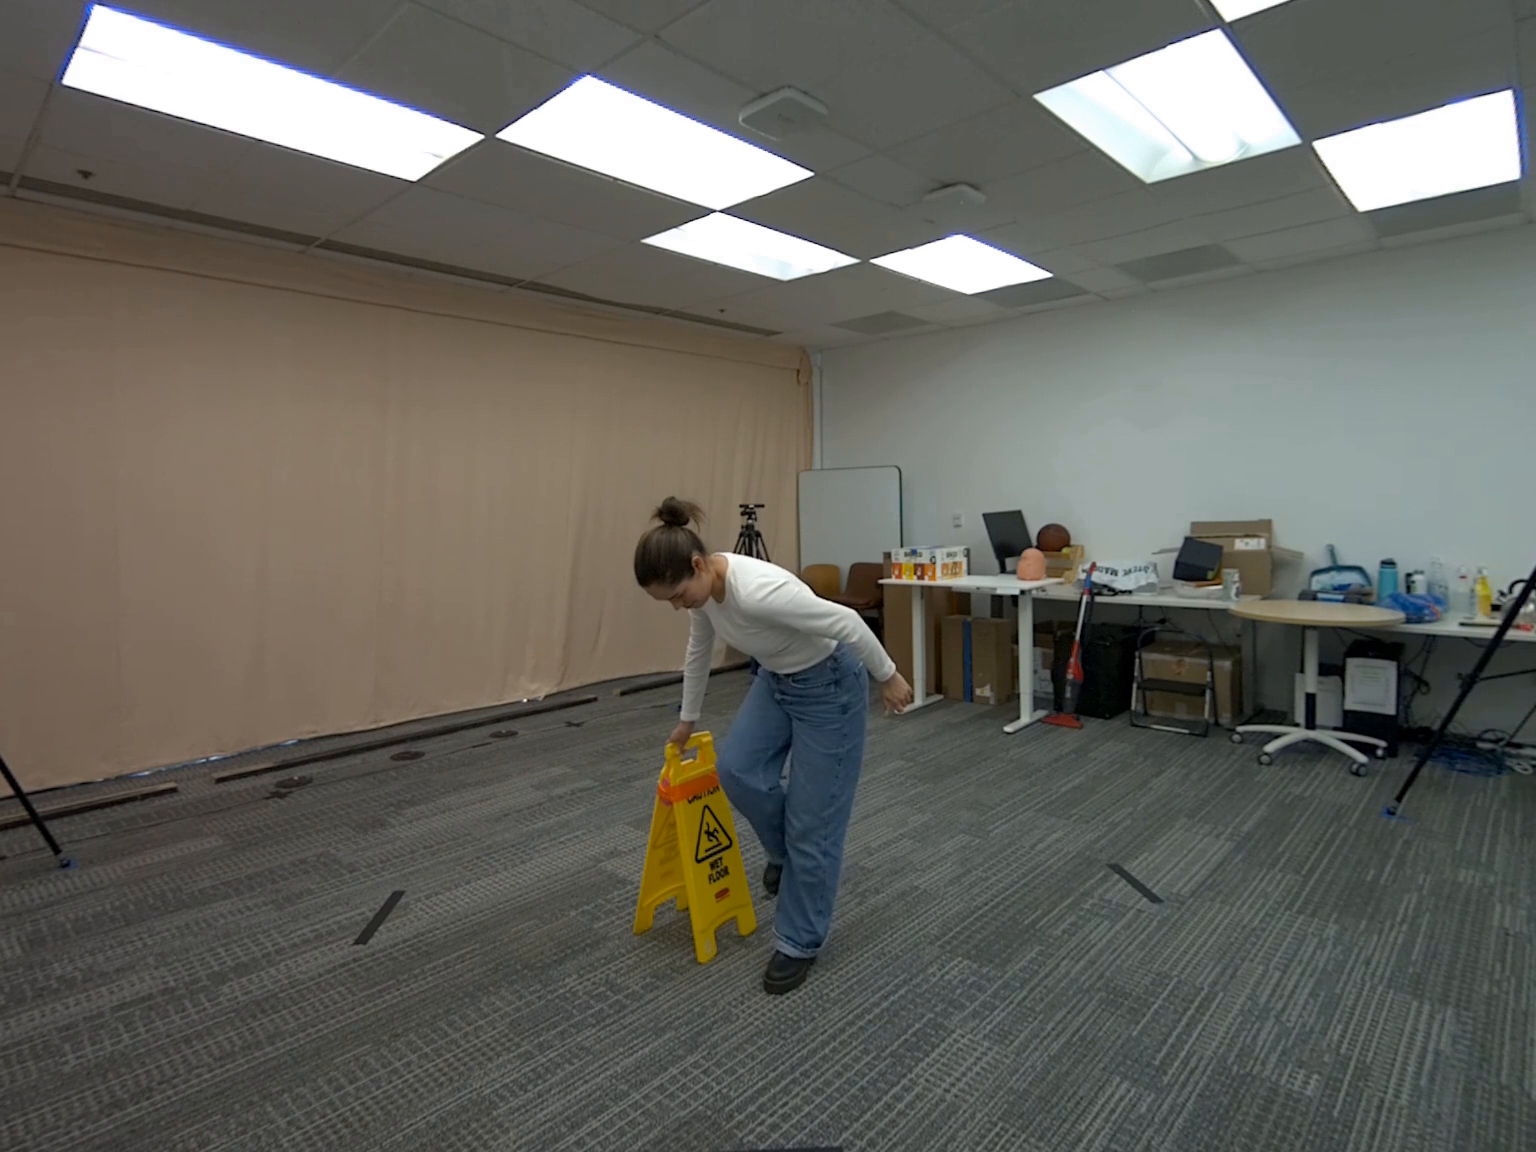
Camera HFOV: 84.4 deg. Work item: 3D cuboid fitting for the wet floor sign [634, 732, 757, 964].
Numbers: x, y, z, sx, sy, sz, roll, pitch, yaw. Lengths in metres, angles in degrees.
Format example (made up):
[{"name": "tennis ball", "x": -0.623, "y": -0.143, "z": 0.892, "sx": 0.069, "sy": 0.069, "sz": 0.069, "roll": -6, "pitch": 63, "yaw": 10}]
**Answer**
[{"name": "wet floor sign", "x": -0.248, "y": 0.844, "z": 2.736, "sx": 0.299, "sy": 0.645, "sz": 0.274, "roll": 1, "pitch": 4, "yaw": 40}]
